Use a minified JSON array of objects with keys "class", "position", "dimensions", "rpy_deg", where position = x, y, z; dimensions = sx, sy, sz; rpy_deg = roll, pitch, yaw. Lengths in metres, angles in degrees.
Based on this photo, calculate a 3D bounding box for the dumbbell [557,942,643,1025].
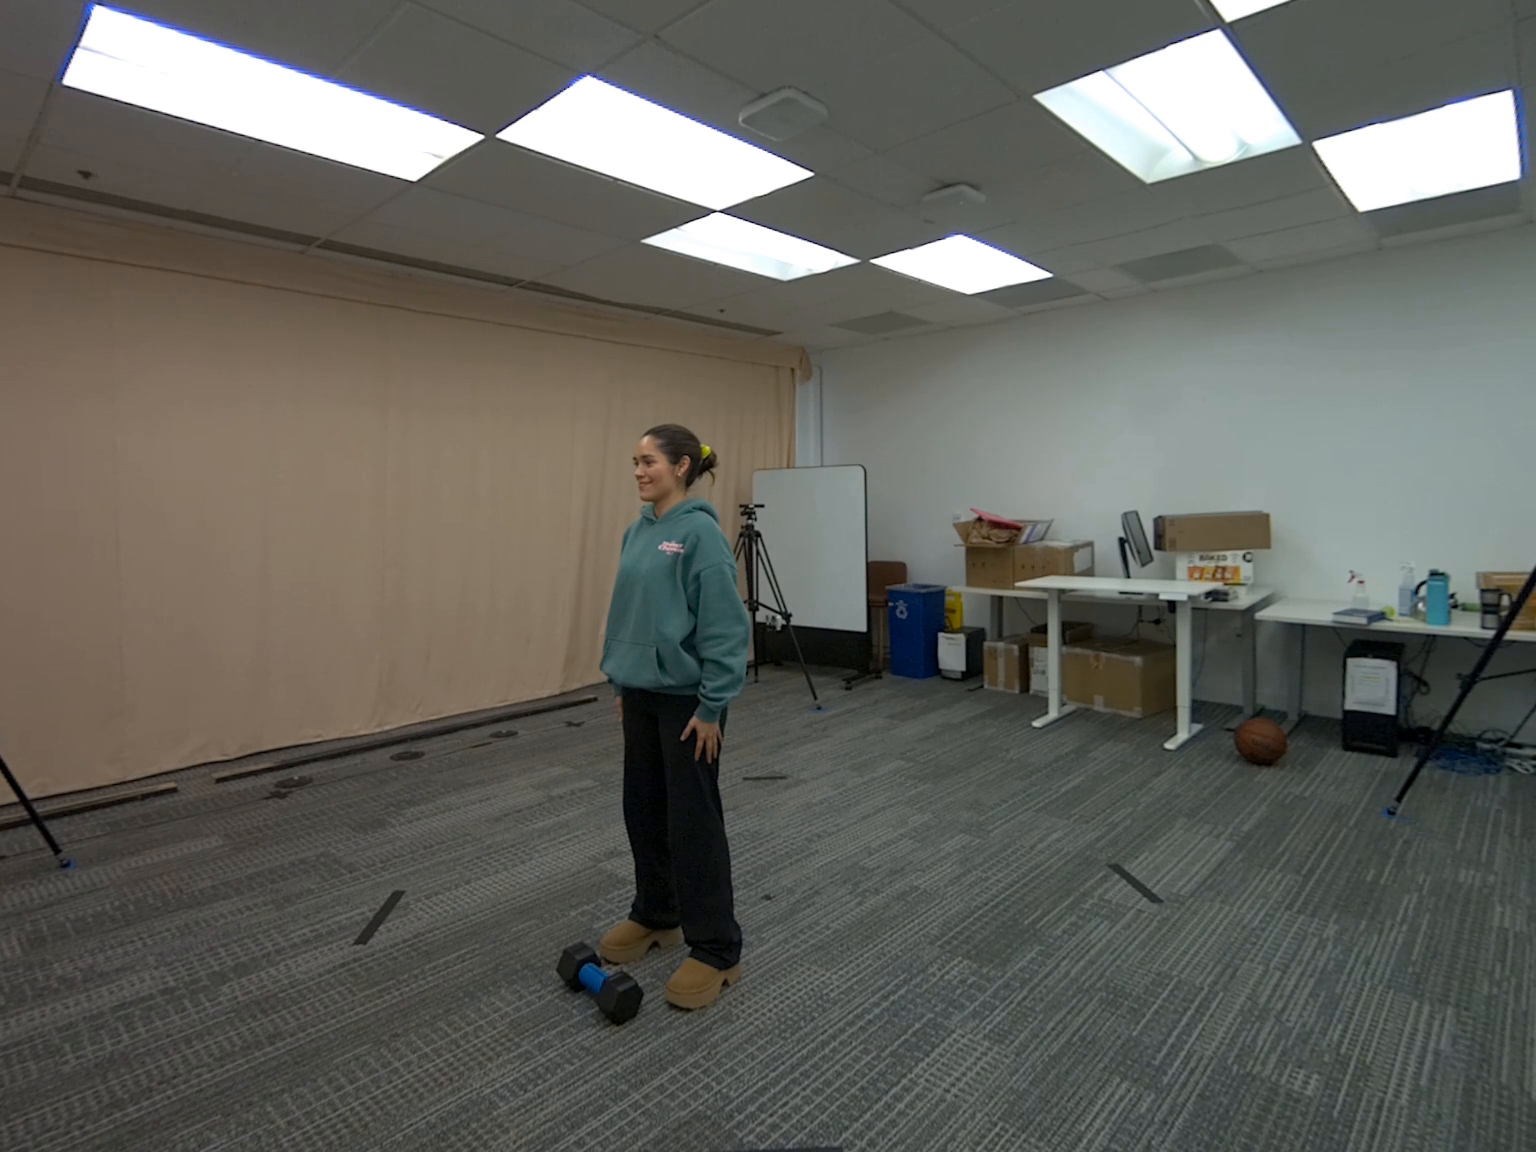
[{"class":"dumbbell","position":[-0.476,1.150,2.378],"dimensions":[0.303,0.120,0.107],"rpy_deg":[4,38,47]}]
